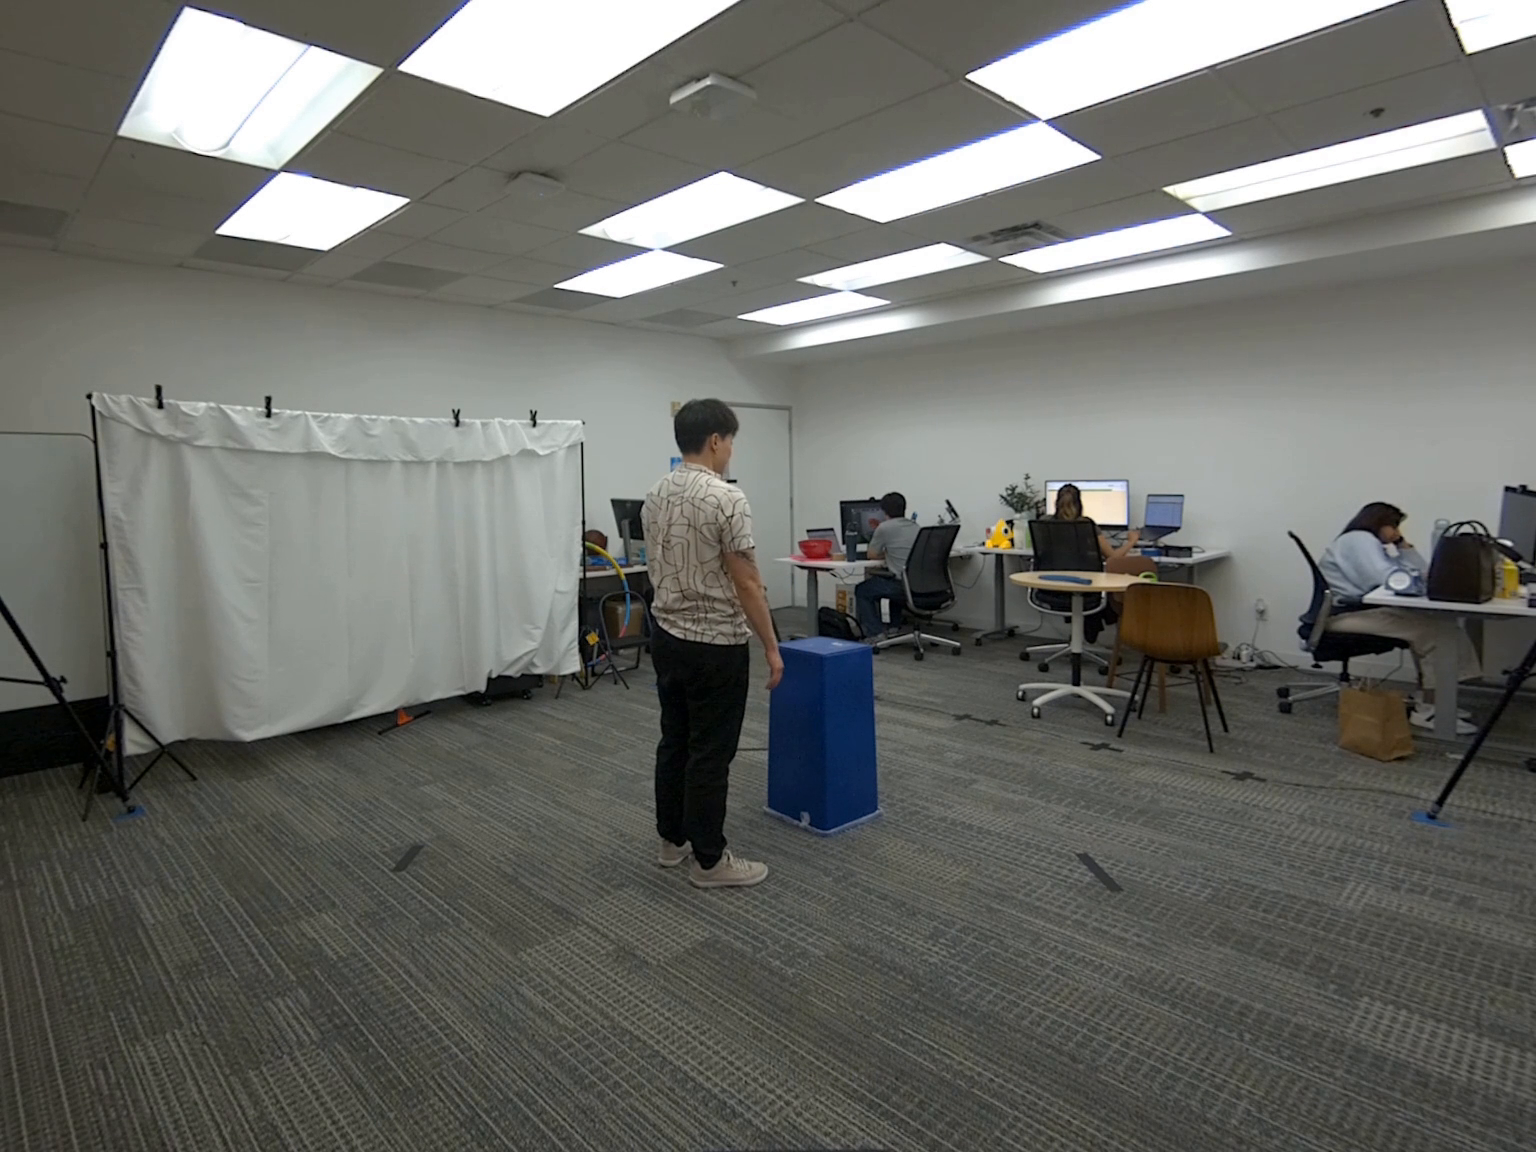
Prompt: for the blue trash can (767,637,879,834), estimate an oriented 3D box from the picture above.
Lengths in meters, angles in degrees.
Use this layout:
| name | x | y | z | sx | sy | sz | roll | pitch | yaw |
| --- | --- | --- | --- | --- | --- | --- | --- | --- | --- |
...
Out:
| name | x | y | z | sx | sy | sz | roll | pitch | yaw |
| --- | --- | --- | --- | --- | --- | --- | --- | --- | --- |
| blue trash can | 0.224 | 0.636 | 3.563 | 0.368 | 0.711 | 0.385 | -3 | 5 | -42 |
